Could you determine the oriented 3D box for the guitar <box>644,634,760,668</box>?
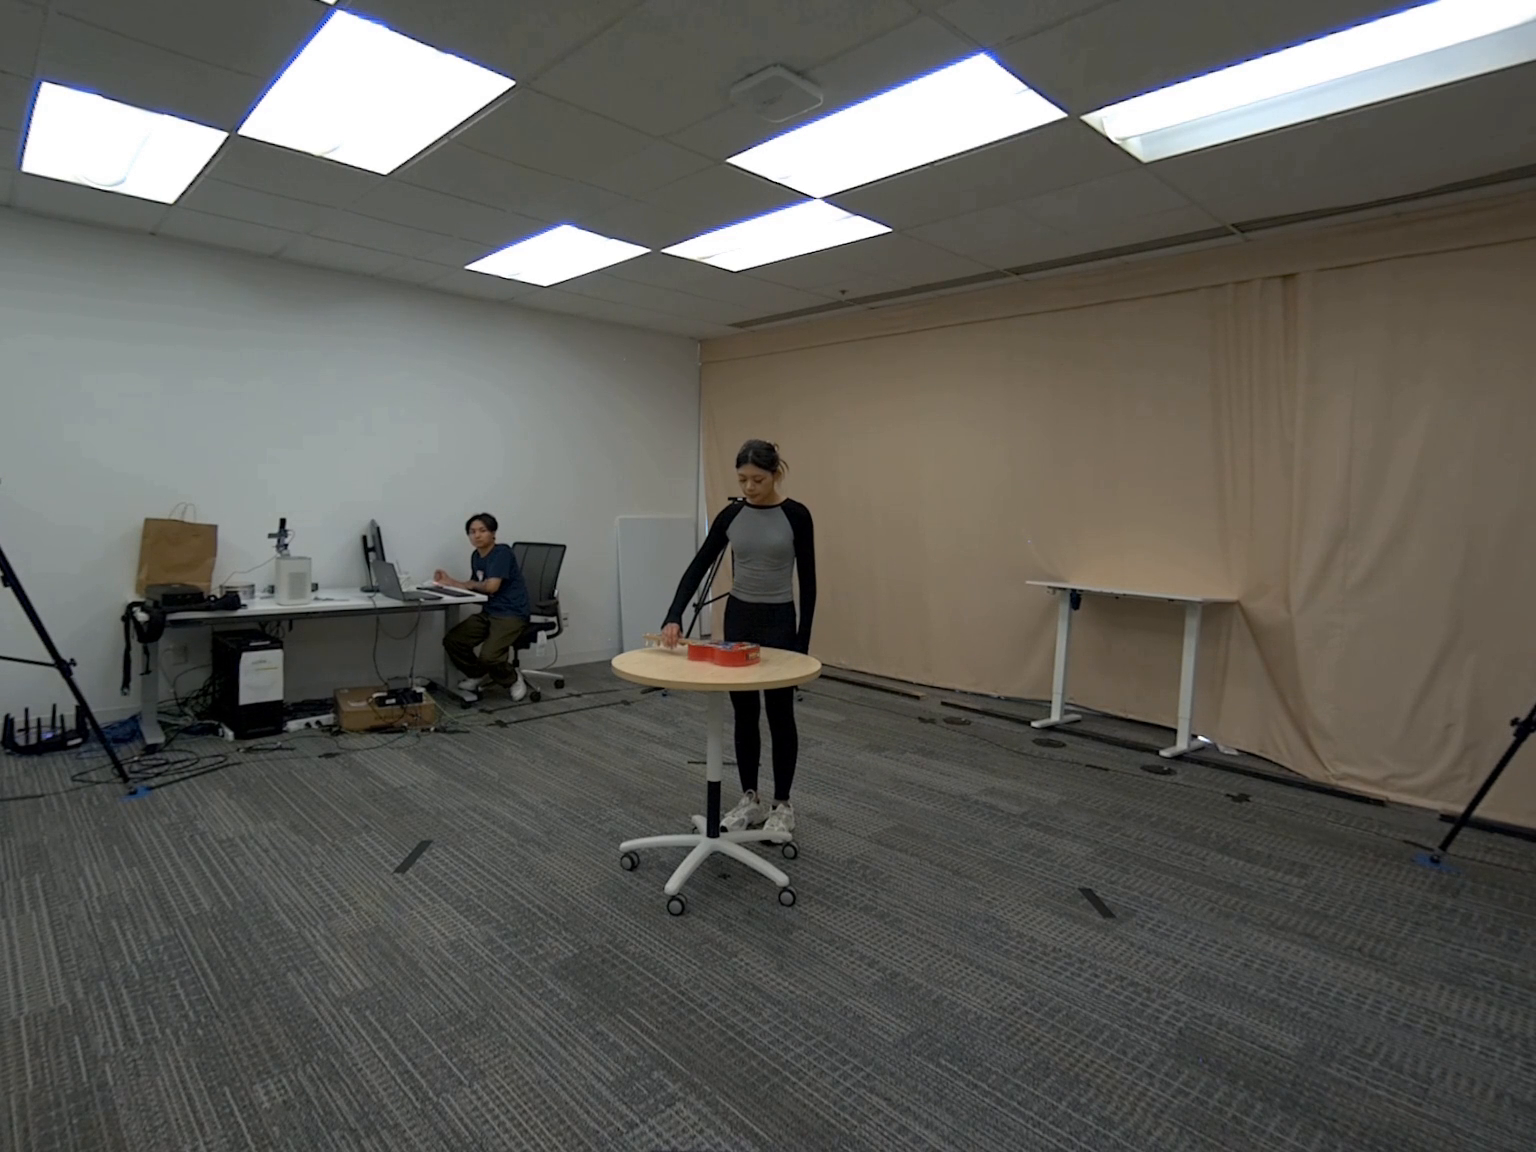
[{"bbox_3d":[-0.263,0.275,3.187,0.510,0.070,0.189,5,5,37],"label":"guitar"}]
